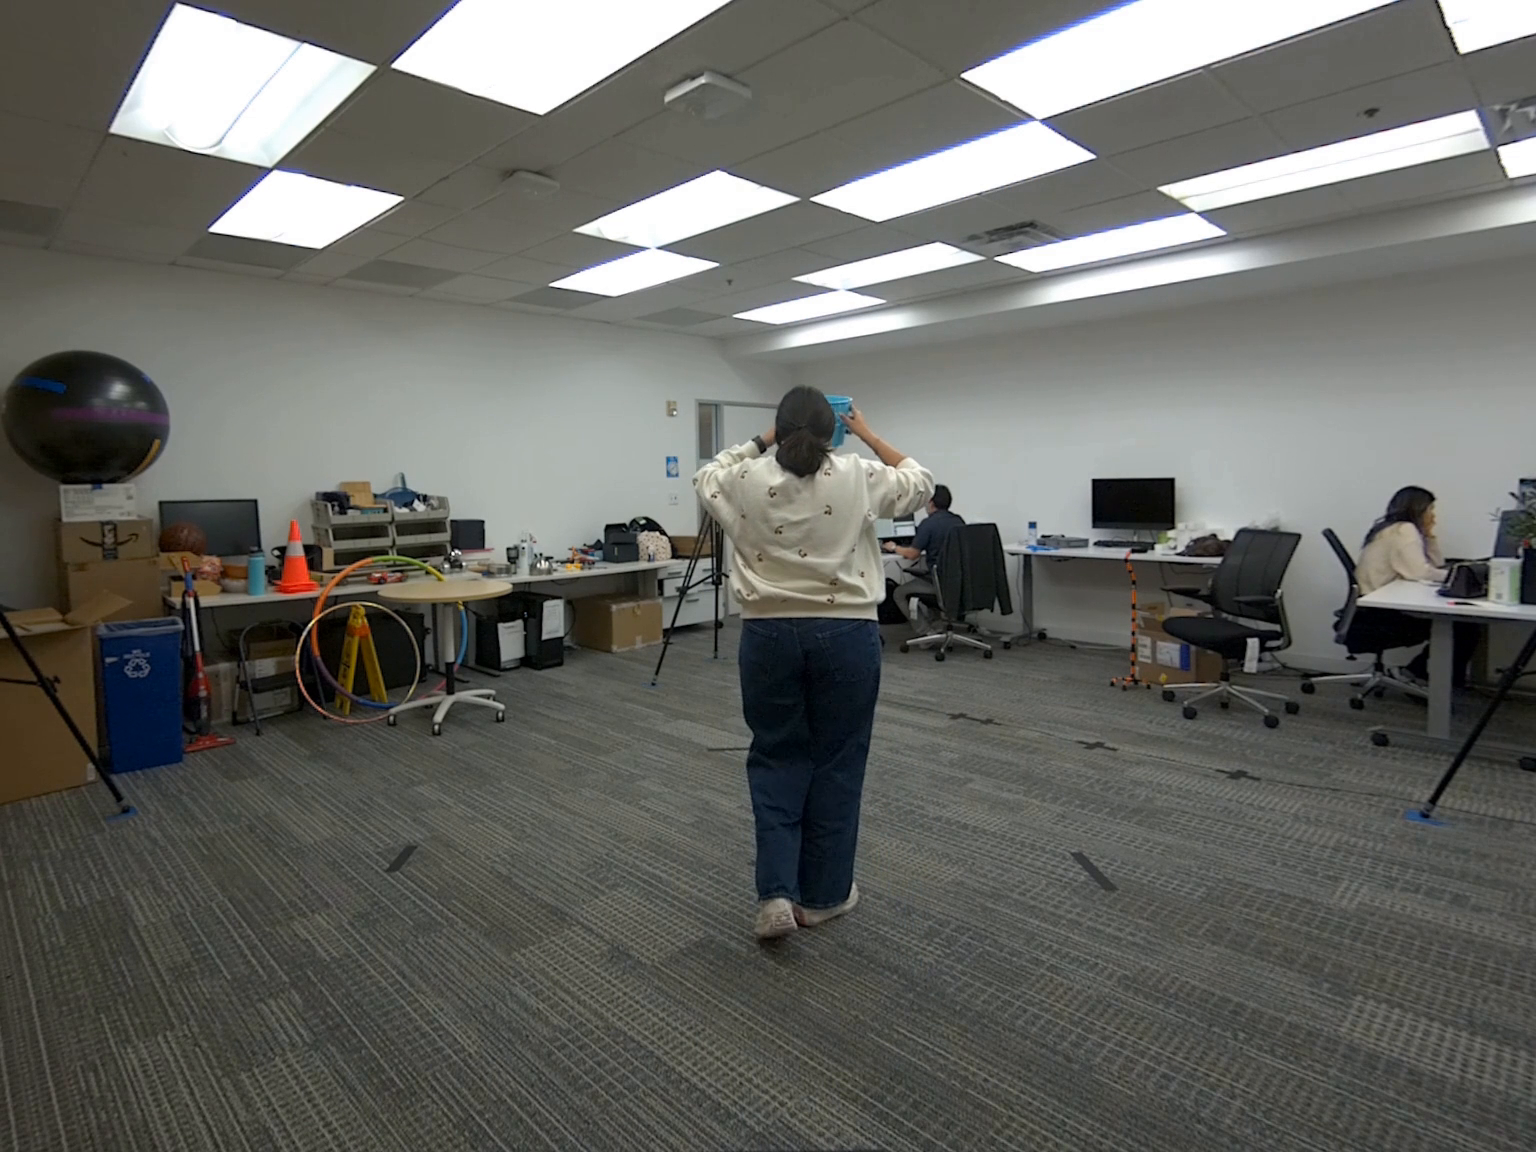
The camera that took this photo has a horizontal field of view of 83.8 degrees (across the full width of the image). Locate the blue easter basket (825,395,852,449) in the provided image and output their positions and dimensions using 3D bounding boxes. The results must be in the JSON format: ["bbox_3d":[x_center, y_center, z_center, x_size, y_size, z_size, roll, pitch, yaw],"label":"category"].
[{"bbox_3d":[0.178,-0.529,2.918,0.243,0.153,0.247,-2,17,-1],"label":"blue easter basket"}]
